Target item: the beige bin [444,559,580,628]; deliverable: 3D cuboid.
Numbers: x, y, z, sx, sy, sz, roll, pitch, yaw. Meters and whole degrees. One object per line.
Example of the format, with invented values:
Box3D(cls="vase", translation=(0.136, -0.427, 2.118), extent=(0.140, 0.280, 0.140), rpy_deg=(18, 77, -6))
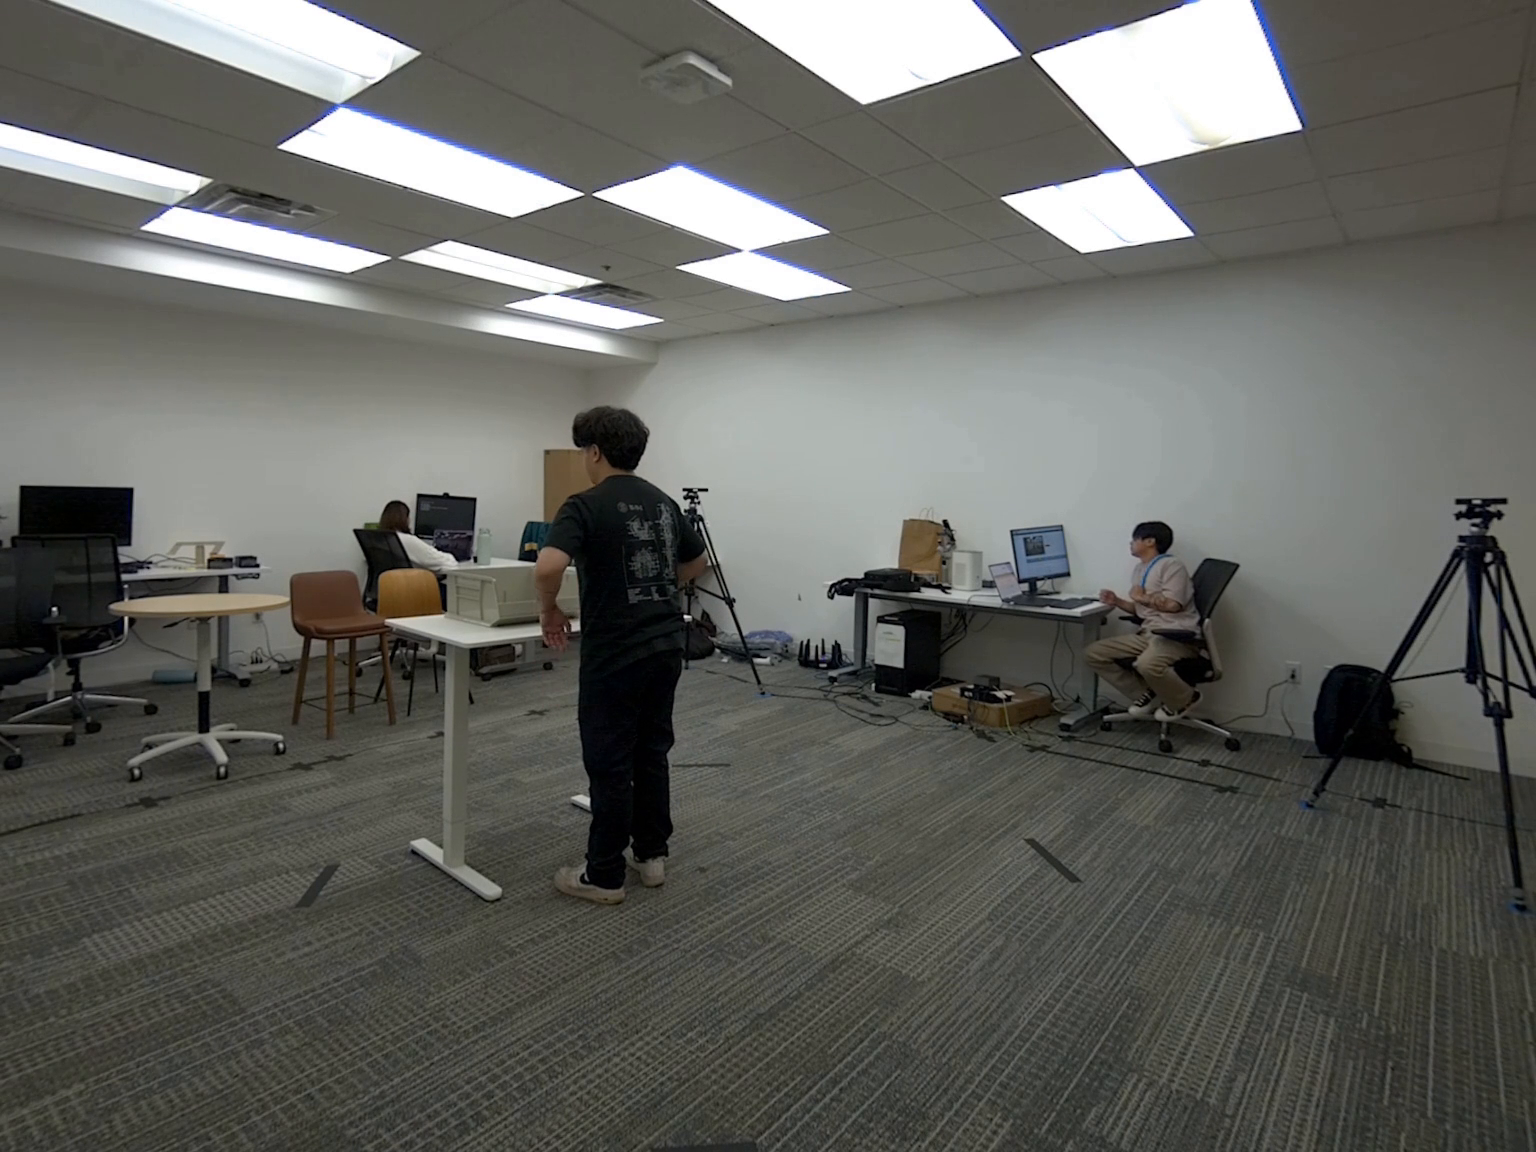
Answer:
Box3D(cls="beige bin", translation=(-0.967, 0.075, 3.257), extent=(0.390, 0.188, 0.409), rpy_deg=(5, 6, 41))
